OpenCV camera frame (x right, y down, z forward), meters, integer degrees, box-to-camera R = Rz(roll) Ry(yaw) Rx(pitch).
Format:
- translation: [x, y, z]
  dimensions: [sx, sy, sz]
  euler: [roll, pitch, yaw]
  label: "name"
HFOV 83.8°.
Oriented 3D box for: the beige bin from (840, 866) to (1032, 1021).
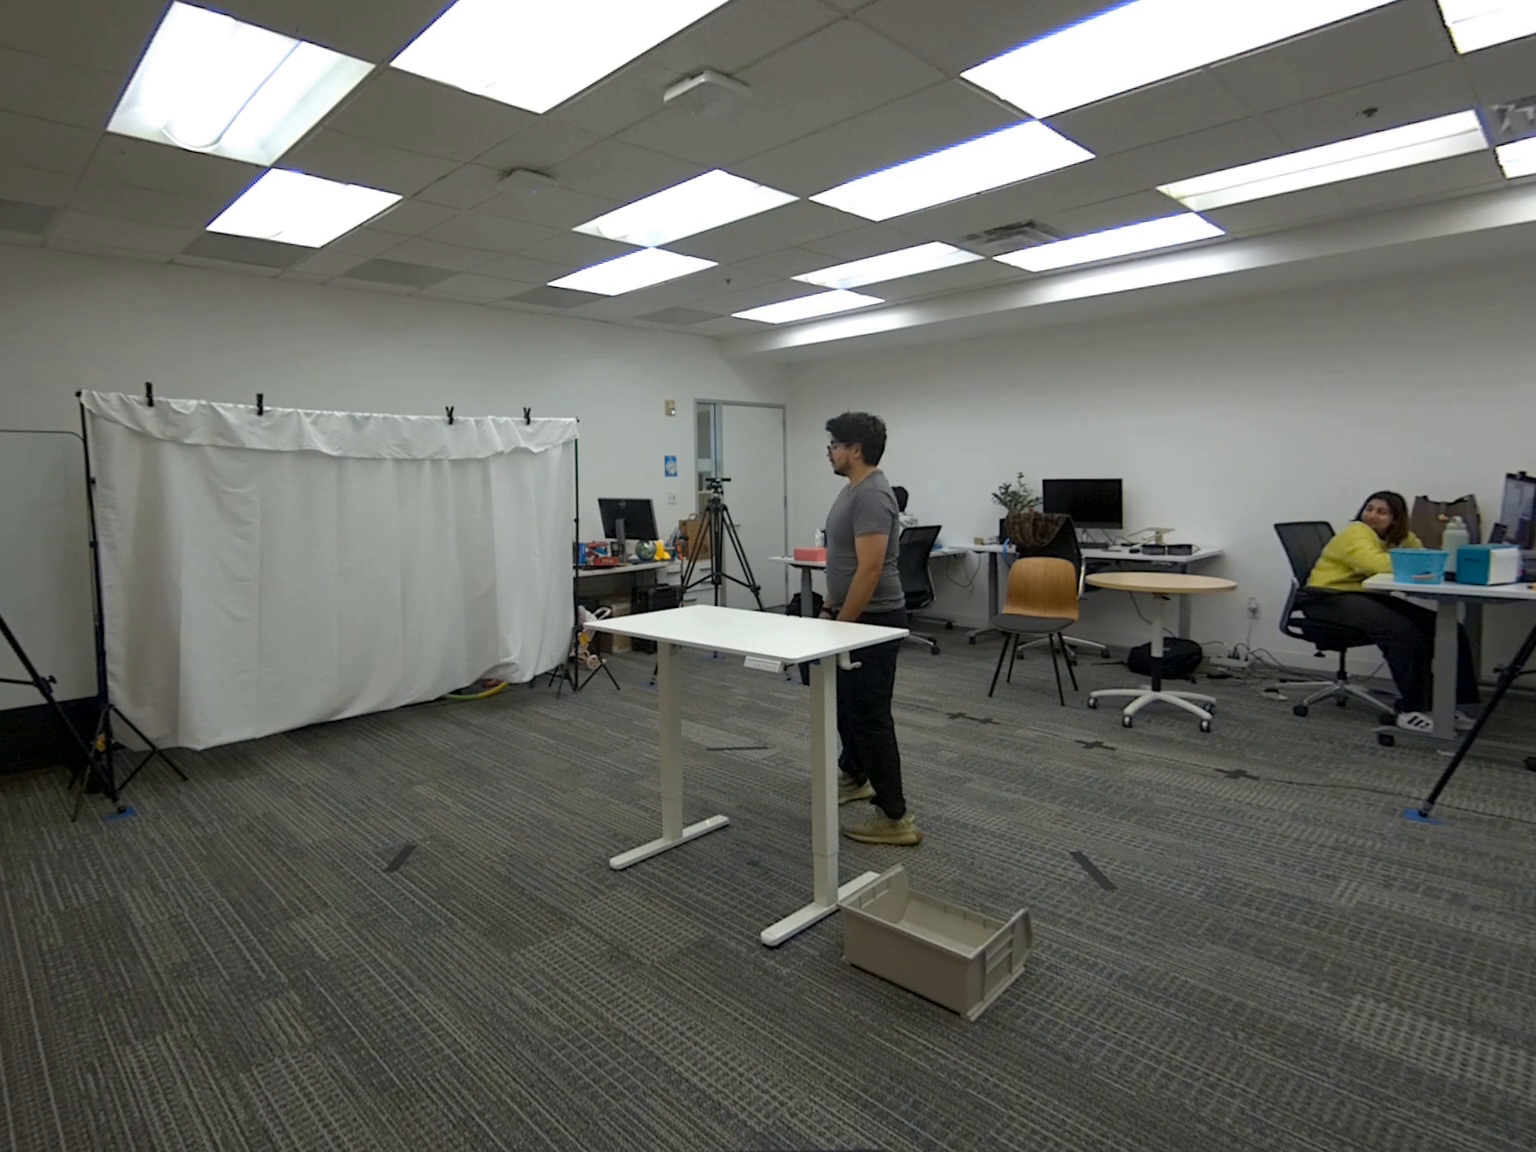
- translation: [0.482, 1.022, 2.439]
  dimensions: [0.435, 0.188, 0.368]
  euler: [4, 9, 42]
  label: "beige bin"
